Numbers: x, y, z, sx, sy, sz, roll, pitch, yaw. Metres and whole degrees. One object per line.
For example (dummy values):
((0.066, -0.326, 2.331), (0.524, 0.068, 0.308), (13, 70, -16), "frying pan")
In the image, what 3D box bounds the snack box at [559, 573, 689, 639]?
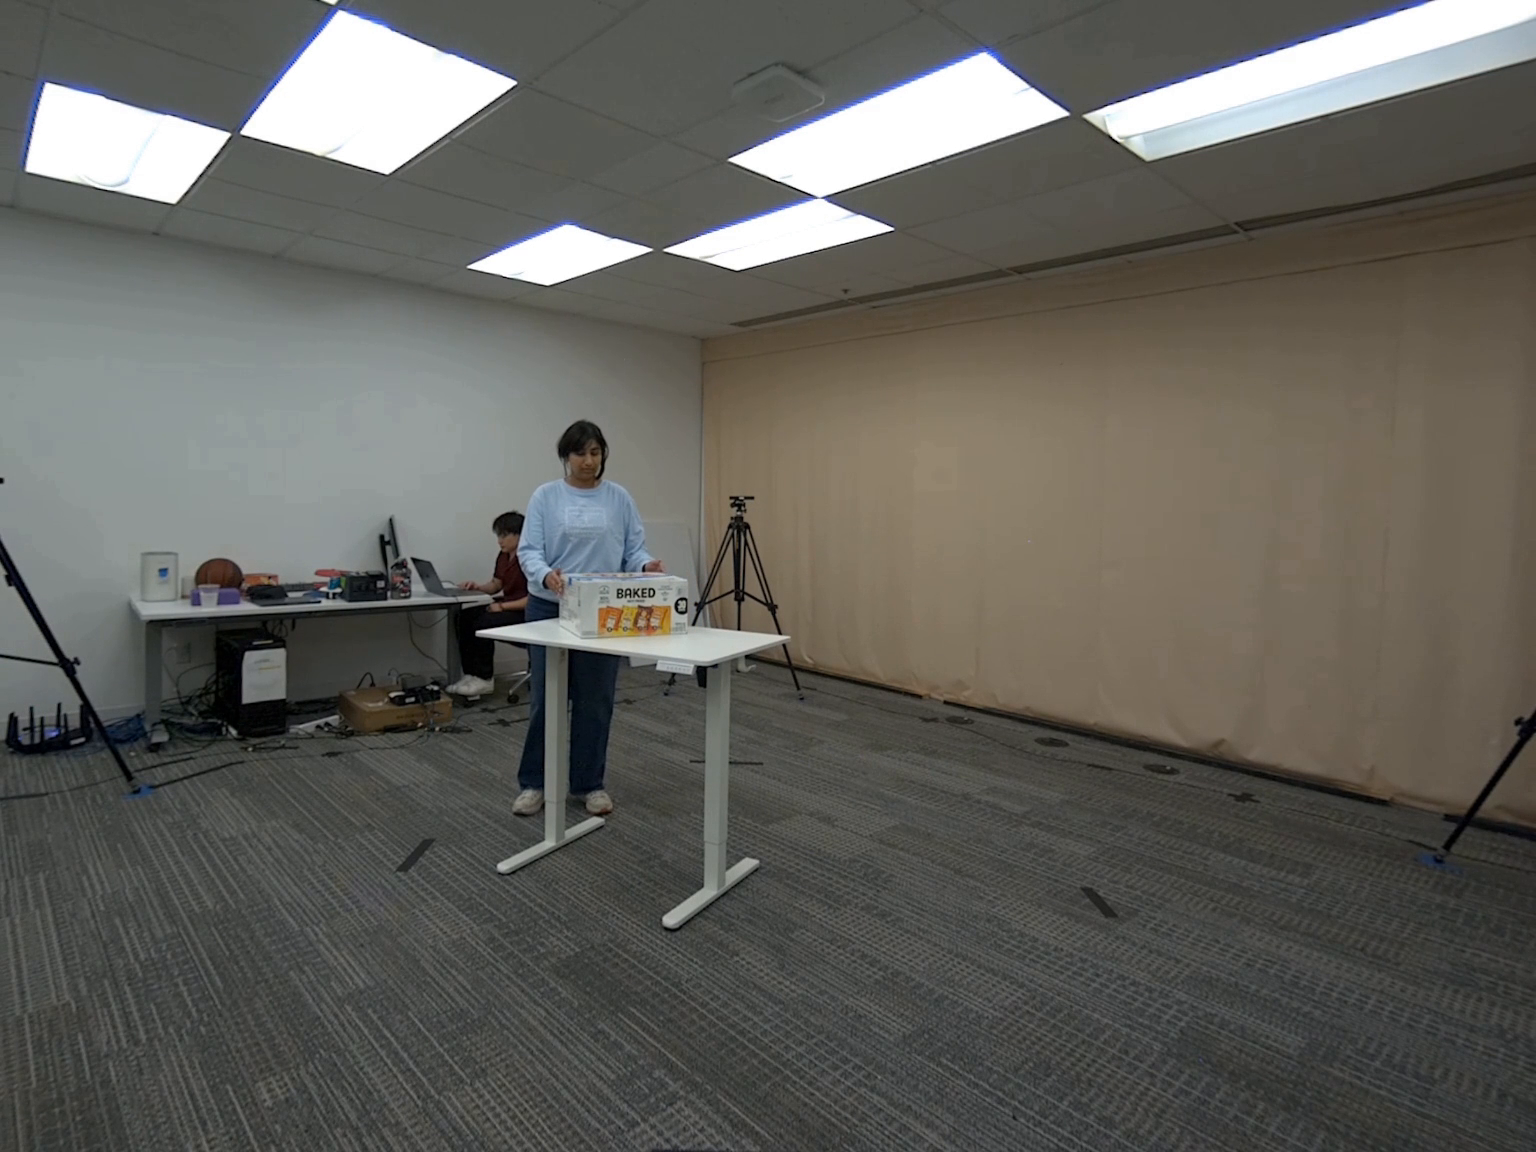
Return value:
((-0.558, 0.105, 3.189), (0.398, 0.205, 0.347), (-1, 4, -26), "snack box")
